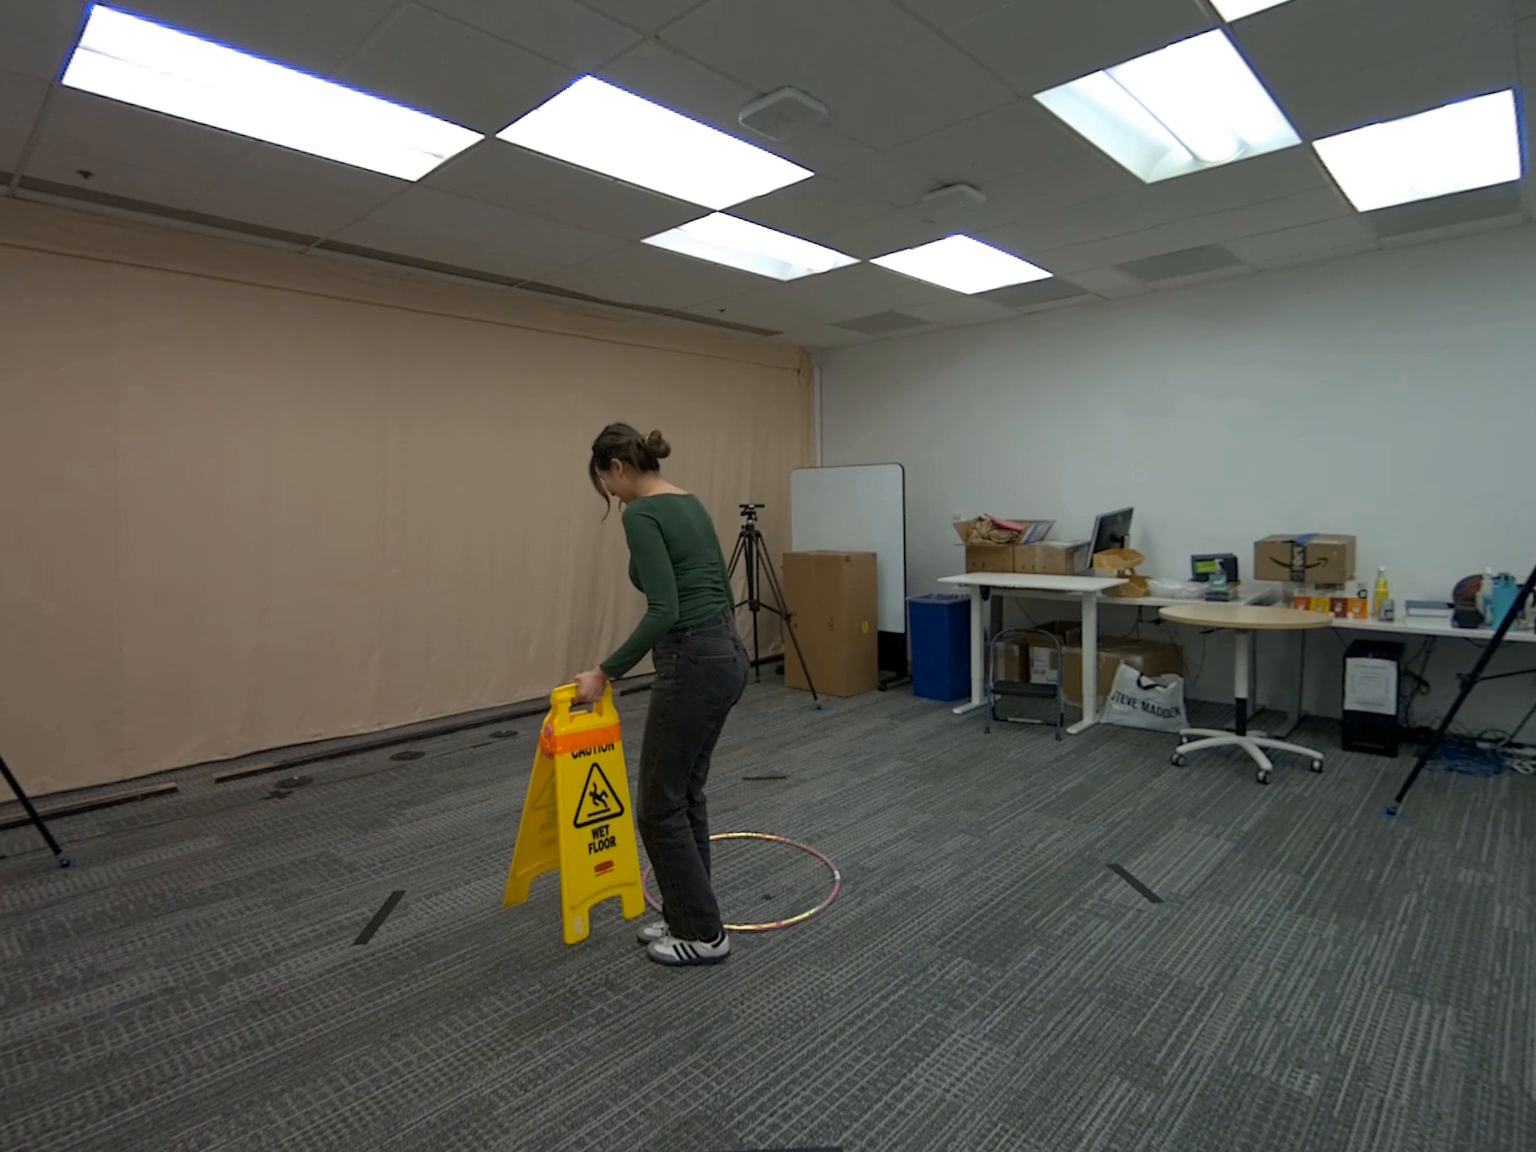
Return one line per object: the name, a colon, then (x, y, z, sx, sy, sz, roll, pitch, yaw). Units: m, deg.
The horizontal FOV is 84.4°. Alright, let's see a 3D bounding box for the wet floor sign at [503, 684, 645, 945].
wet floor sign: (-0.540, 0.630, 2.369, 0.299, 0.645, 0.273, 5, 3, 40)
